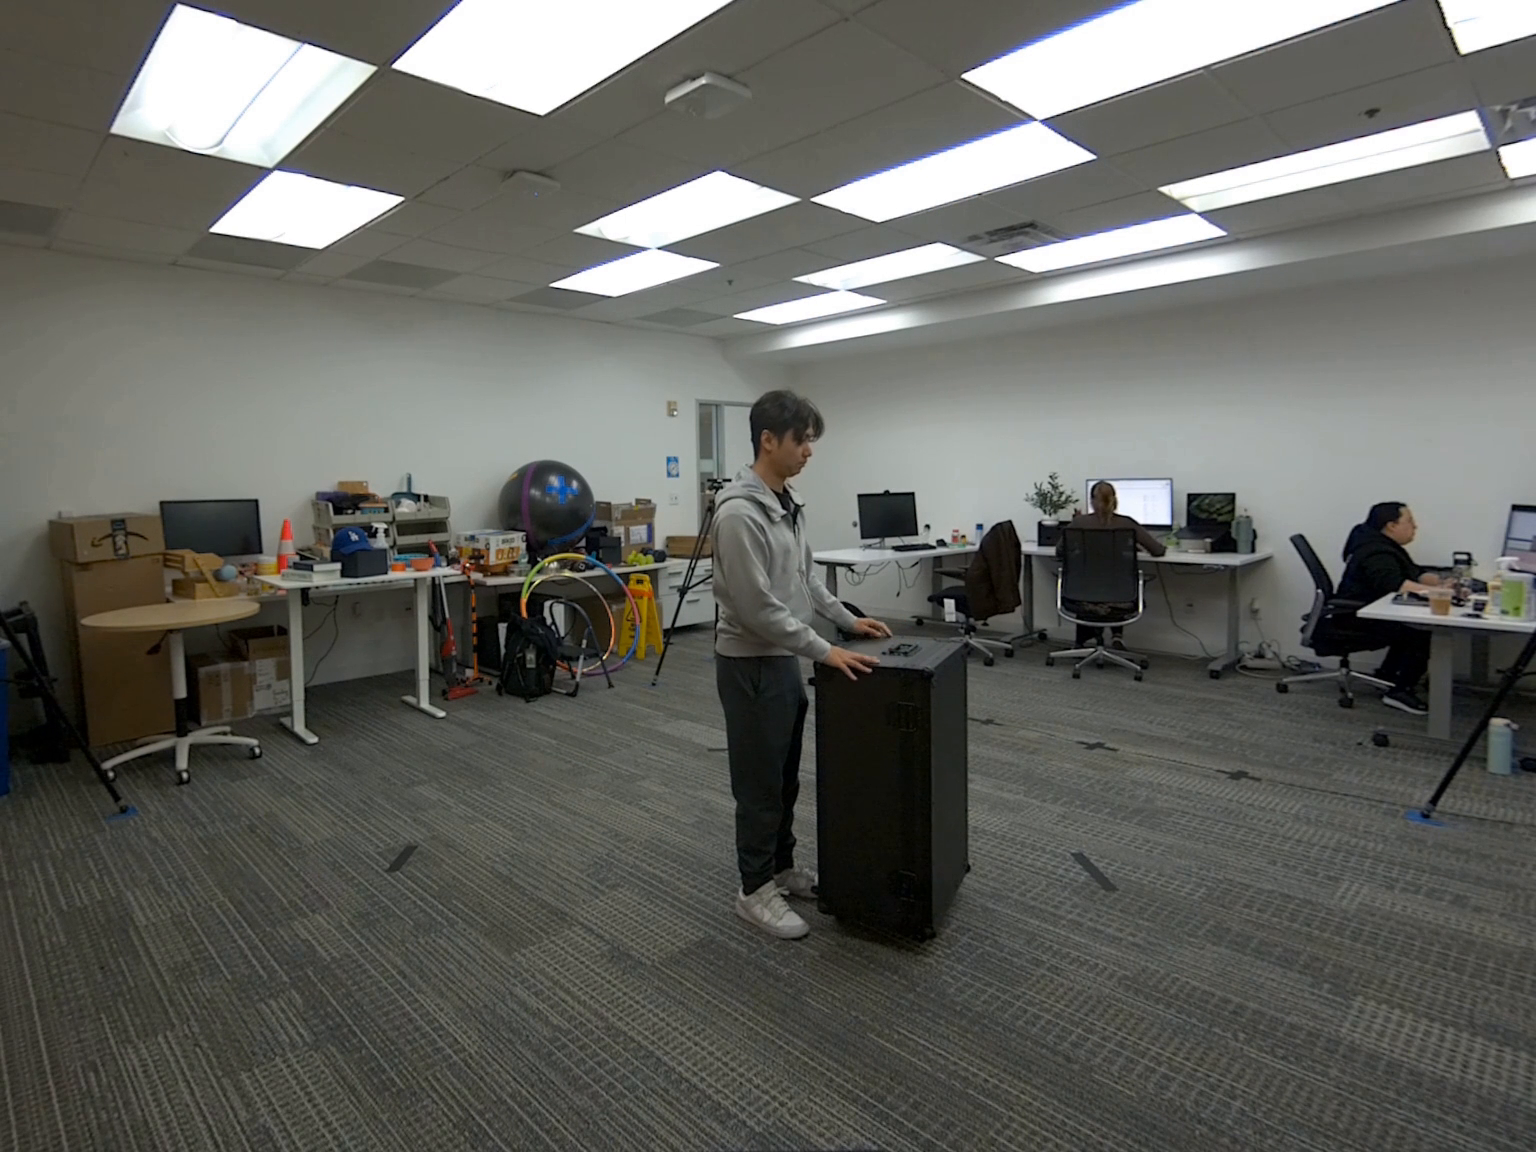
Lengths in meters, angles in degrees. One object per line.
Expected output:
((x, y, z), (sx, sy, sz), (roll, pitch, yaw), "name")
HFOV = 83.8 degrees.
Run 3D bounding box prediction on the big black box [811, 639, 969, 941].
((0.399, 0.653, 2.721), (0.405, 0.858, 0.511), (0, 5, 26), "big black box")
